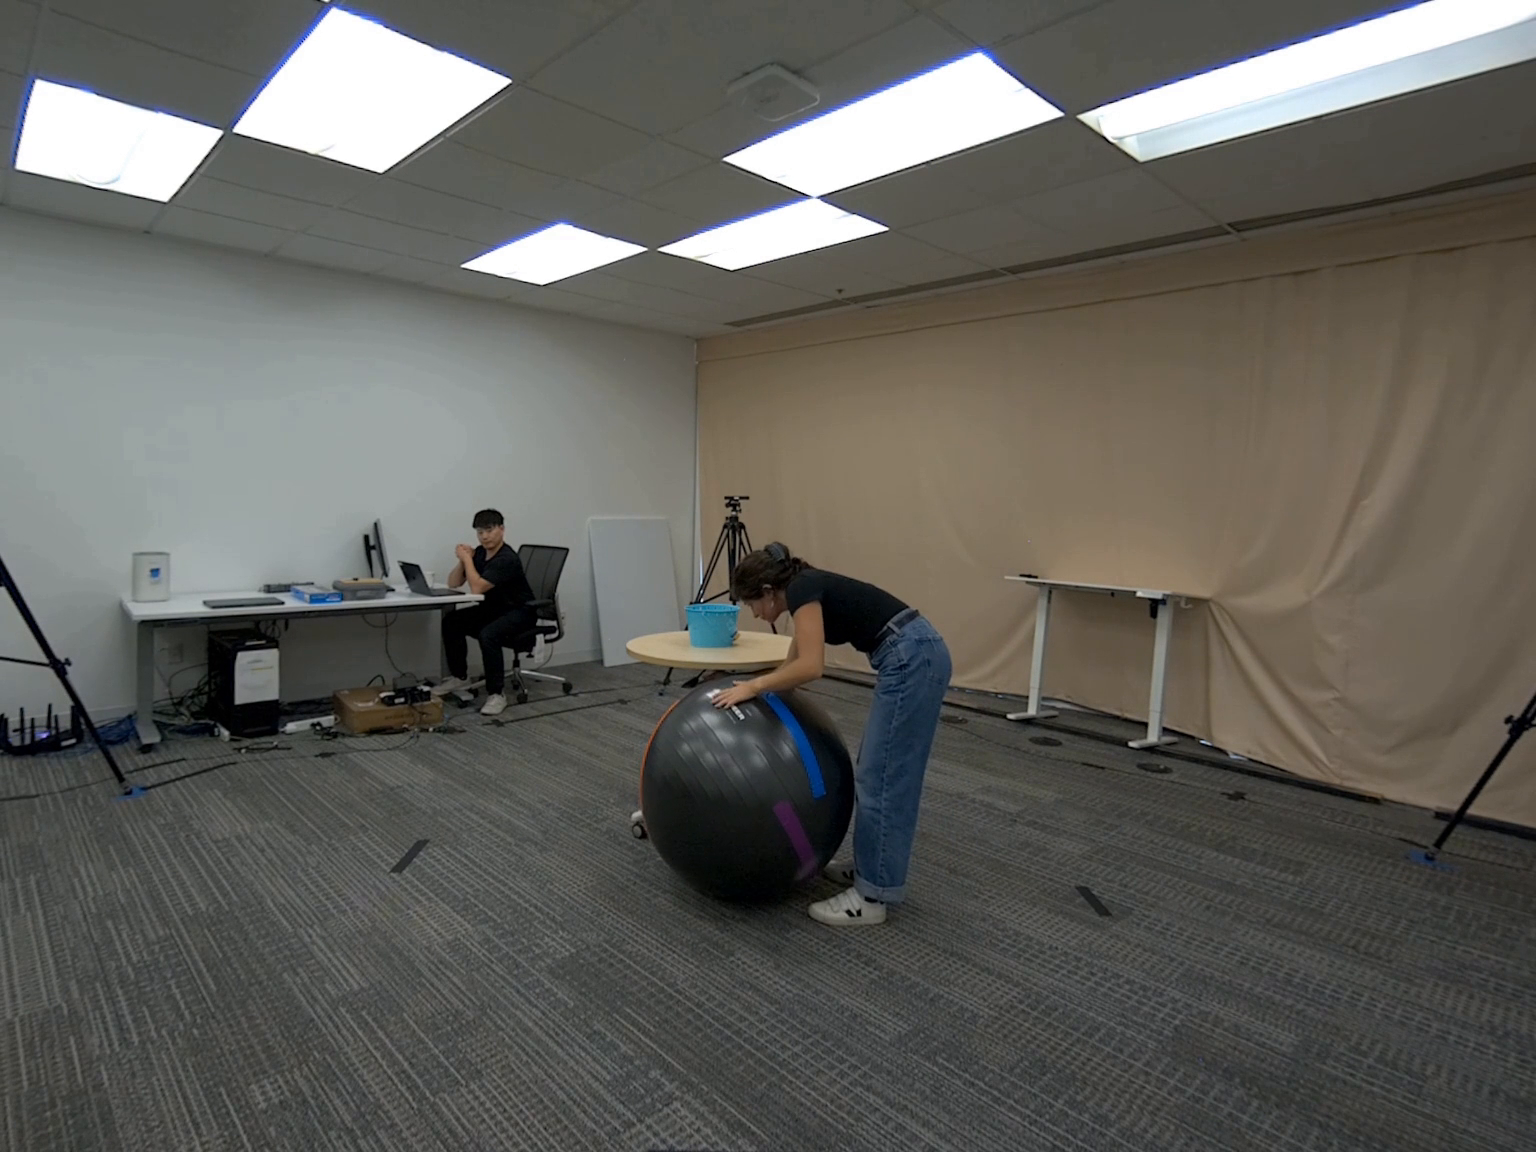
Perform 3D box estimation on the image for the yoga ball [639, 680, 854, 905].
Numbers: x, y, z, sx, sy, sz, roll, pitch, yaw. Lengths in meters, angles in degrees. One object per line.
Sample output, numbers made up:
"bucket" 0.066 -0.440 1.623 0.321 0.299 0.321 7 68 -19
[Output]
"yoga ball" -0.086 0.745 2.973 0.757 0.756 0.761 1 4 -1
